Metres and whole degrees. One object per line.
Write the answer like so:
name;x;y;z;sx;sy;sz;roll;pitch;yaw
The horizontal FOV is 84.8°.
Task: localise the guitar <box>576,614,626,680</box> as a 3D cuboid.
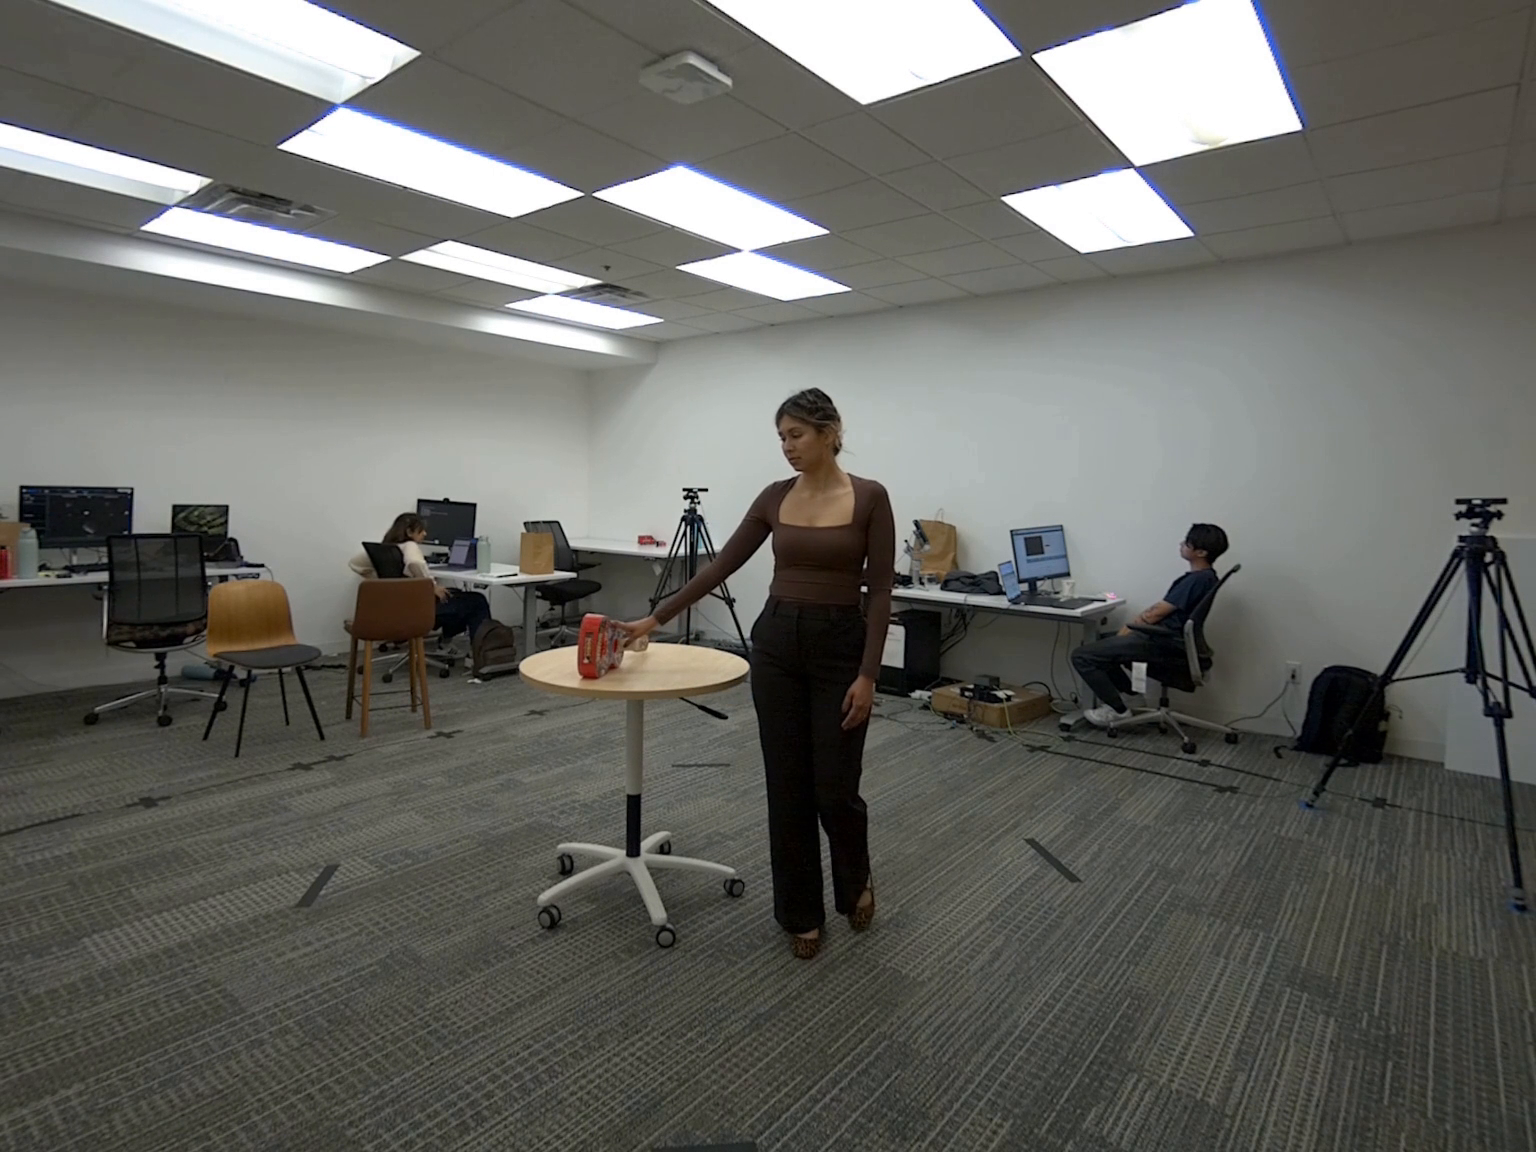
guitar;-0.518;0.254;2.824;0.072;0.195;0.485;1;-12;11
